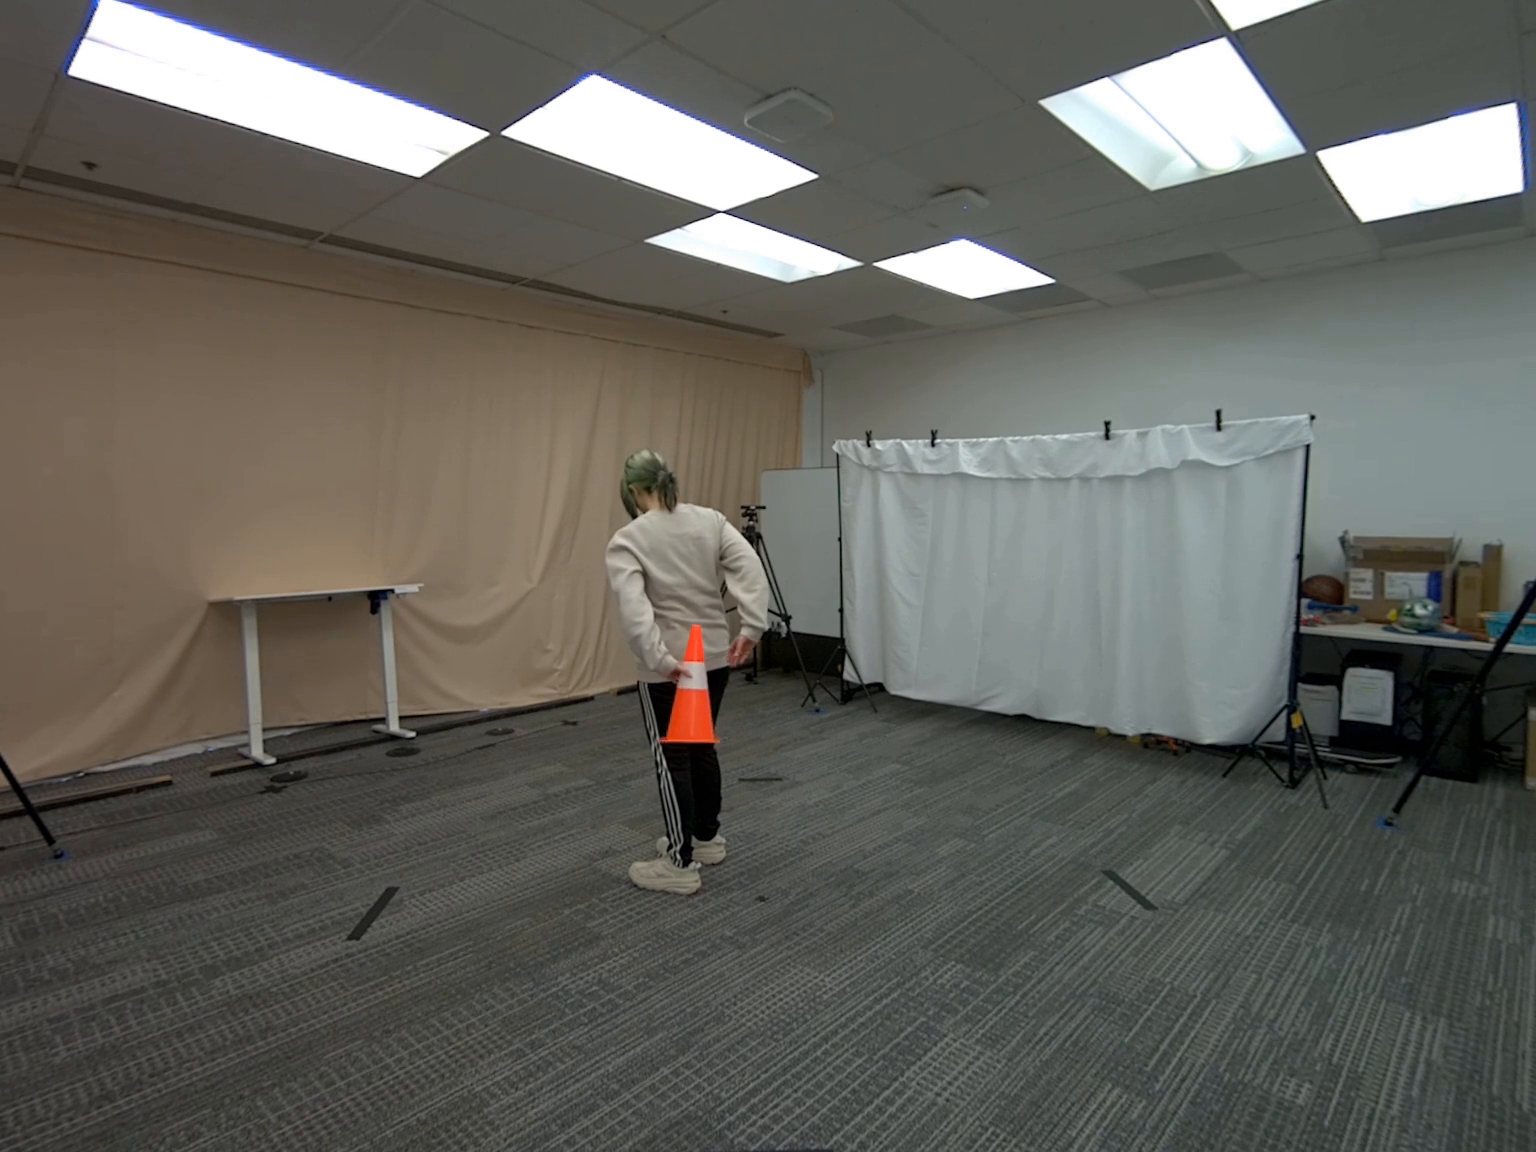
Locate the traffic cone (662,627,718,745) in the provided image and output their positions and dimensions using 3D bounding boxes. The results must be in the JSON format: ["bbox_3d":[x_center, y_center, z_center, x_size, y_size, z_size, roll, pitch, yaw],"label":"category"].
[{"bbox_3d":[-0.250,0.357,2.835,0.205,0.385,0.203,2,-8,-2],"label":"traffic cone"}]
